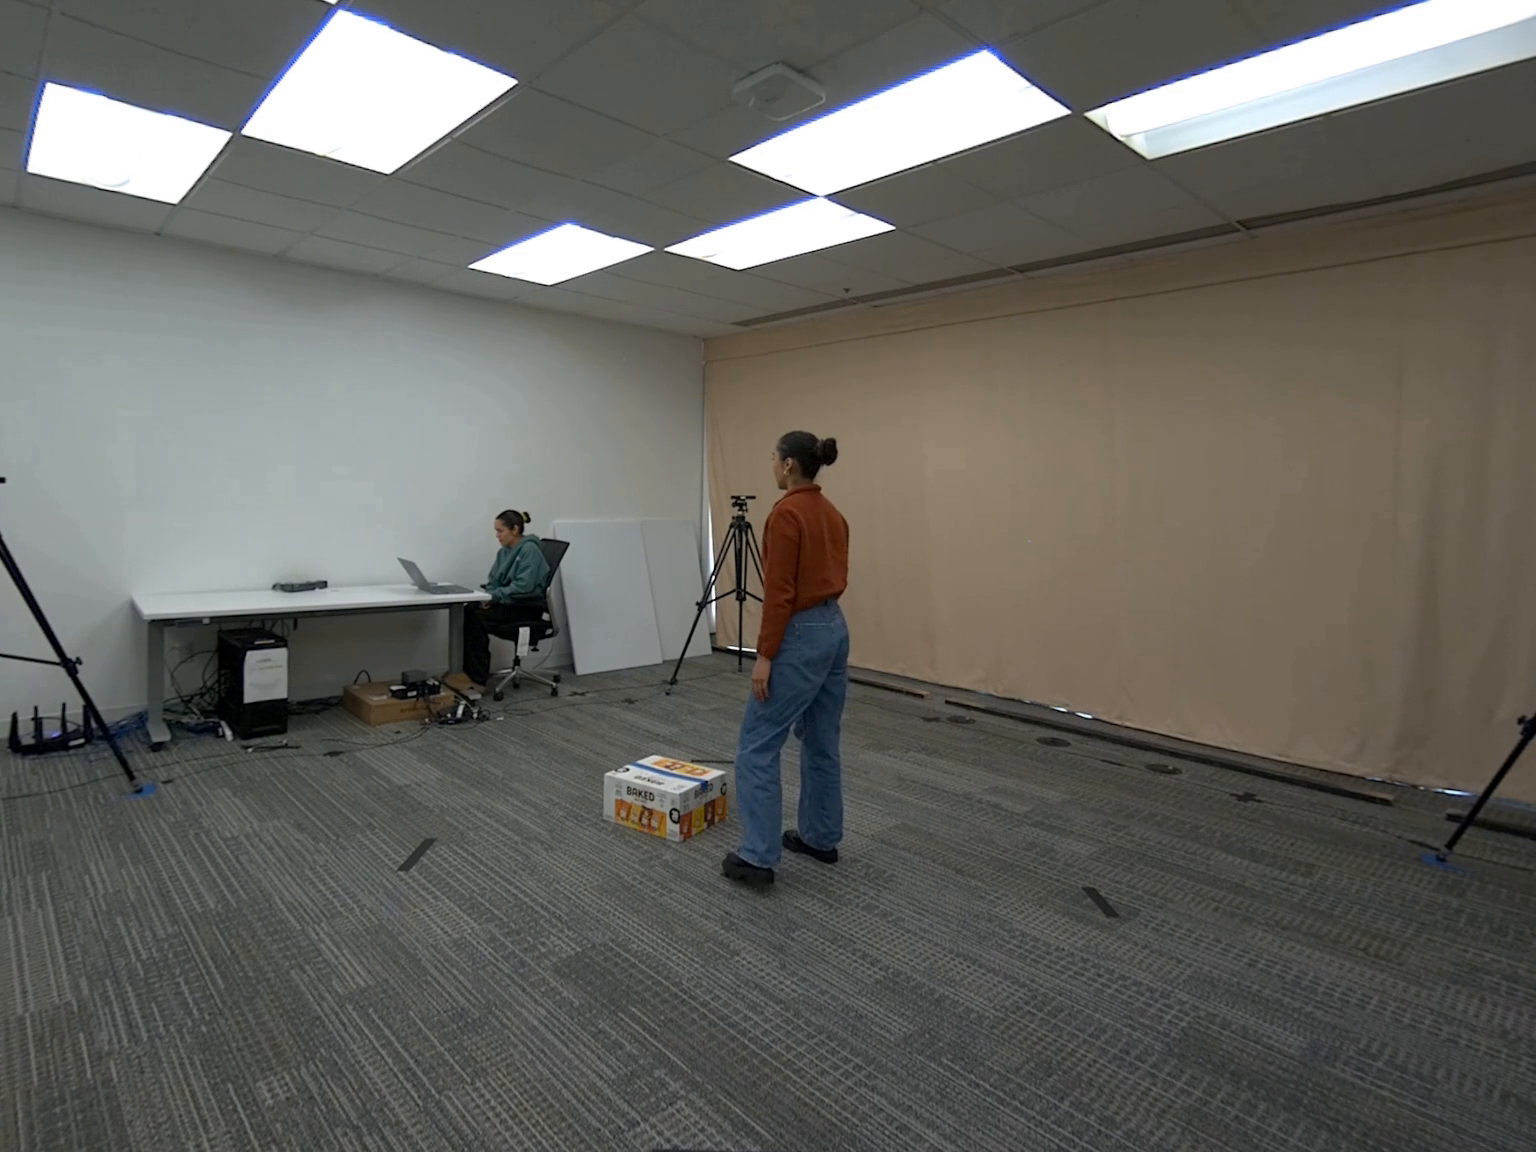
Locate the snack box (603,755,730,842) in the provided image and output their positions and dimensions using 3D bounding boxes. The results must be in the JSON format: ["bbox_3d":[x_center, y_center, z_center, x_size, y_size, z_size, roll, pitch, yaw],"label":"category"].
[{"bbox_3d":[-0.444,0.944,3.622,0.414,0.205,0.333,4,5,32],"label":"snack box"}]
